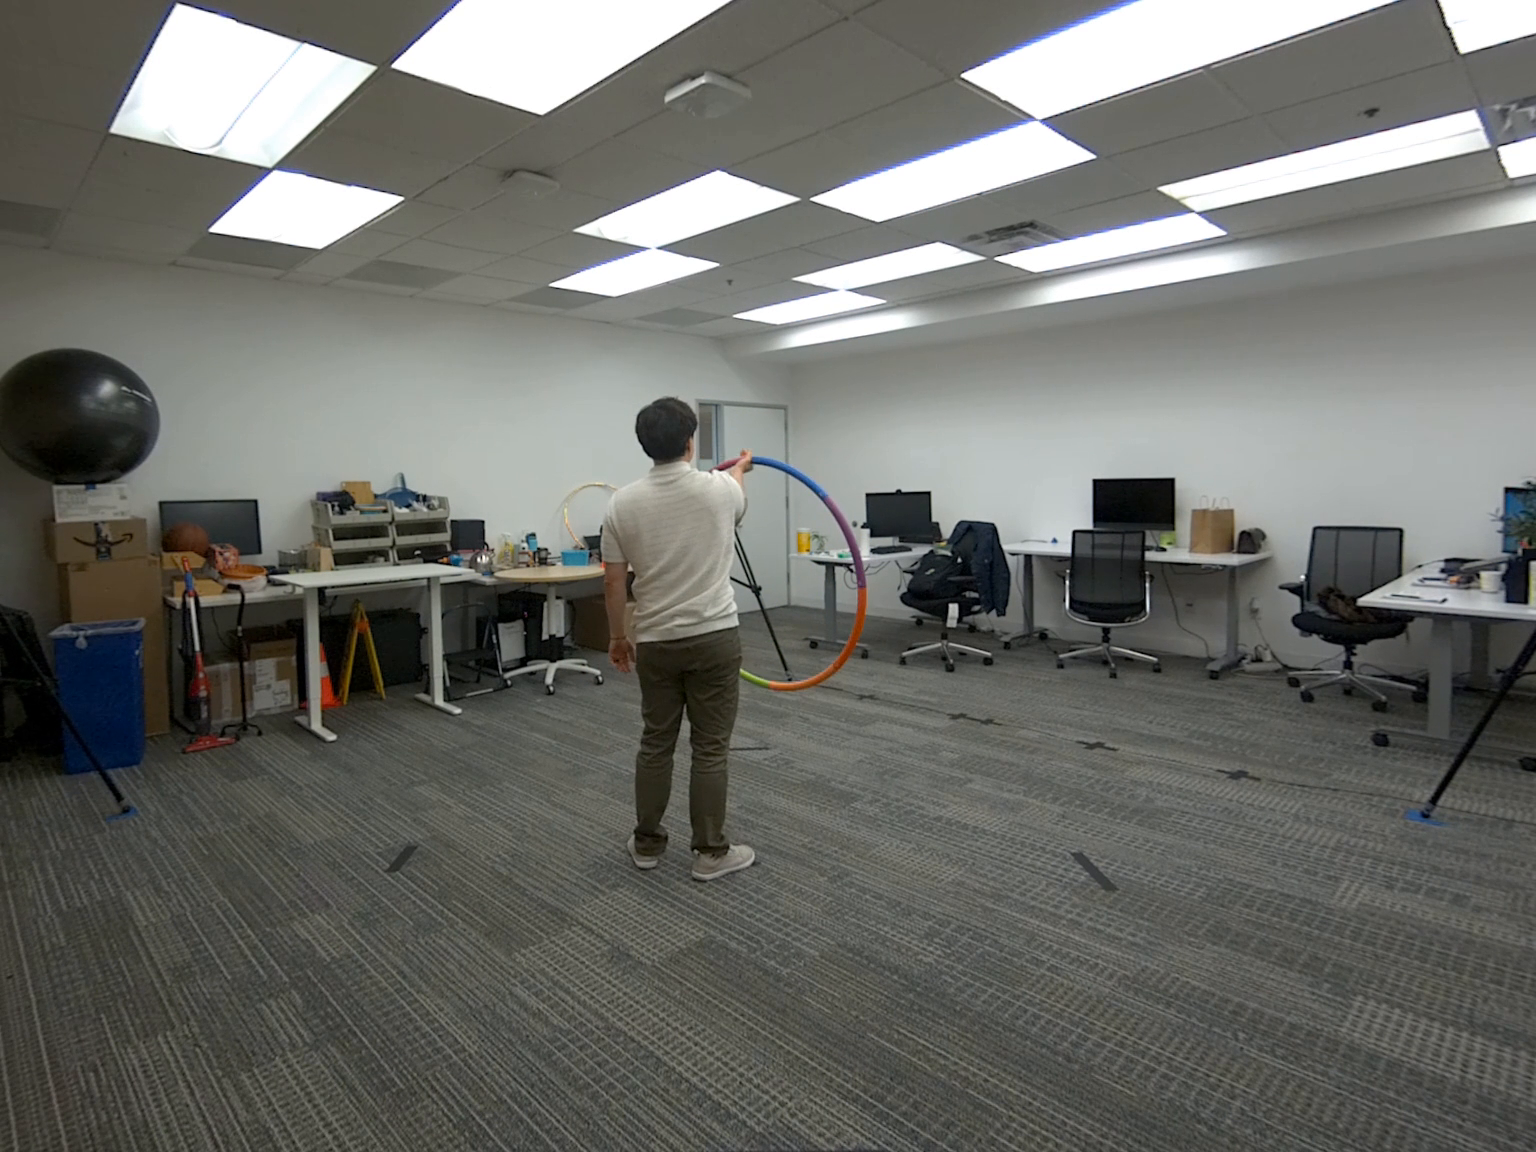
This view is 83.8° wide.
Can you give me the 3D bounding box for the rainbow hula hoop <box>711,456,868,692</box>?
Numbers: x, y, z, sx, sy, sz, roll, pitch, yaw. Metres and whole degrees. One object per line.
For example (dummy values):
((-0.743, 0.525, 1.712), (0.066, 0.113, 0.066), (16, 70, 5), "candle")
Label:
((-0.025, -0.010, 3.532), (1.008, 0.969, 0.035), (3, 13, 39), "rainbow hula hoop")
